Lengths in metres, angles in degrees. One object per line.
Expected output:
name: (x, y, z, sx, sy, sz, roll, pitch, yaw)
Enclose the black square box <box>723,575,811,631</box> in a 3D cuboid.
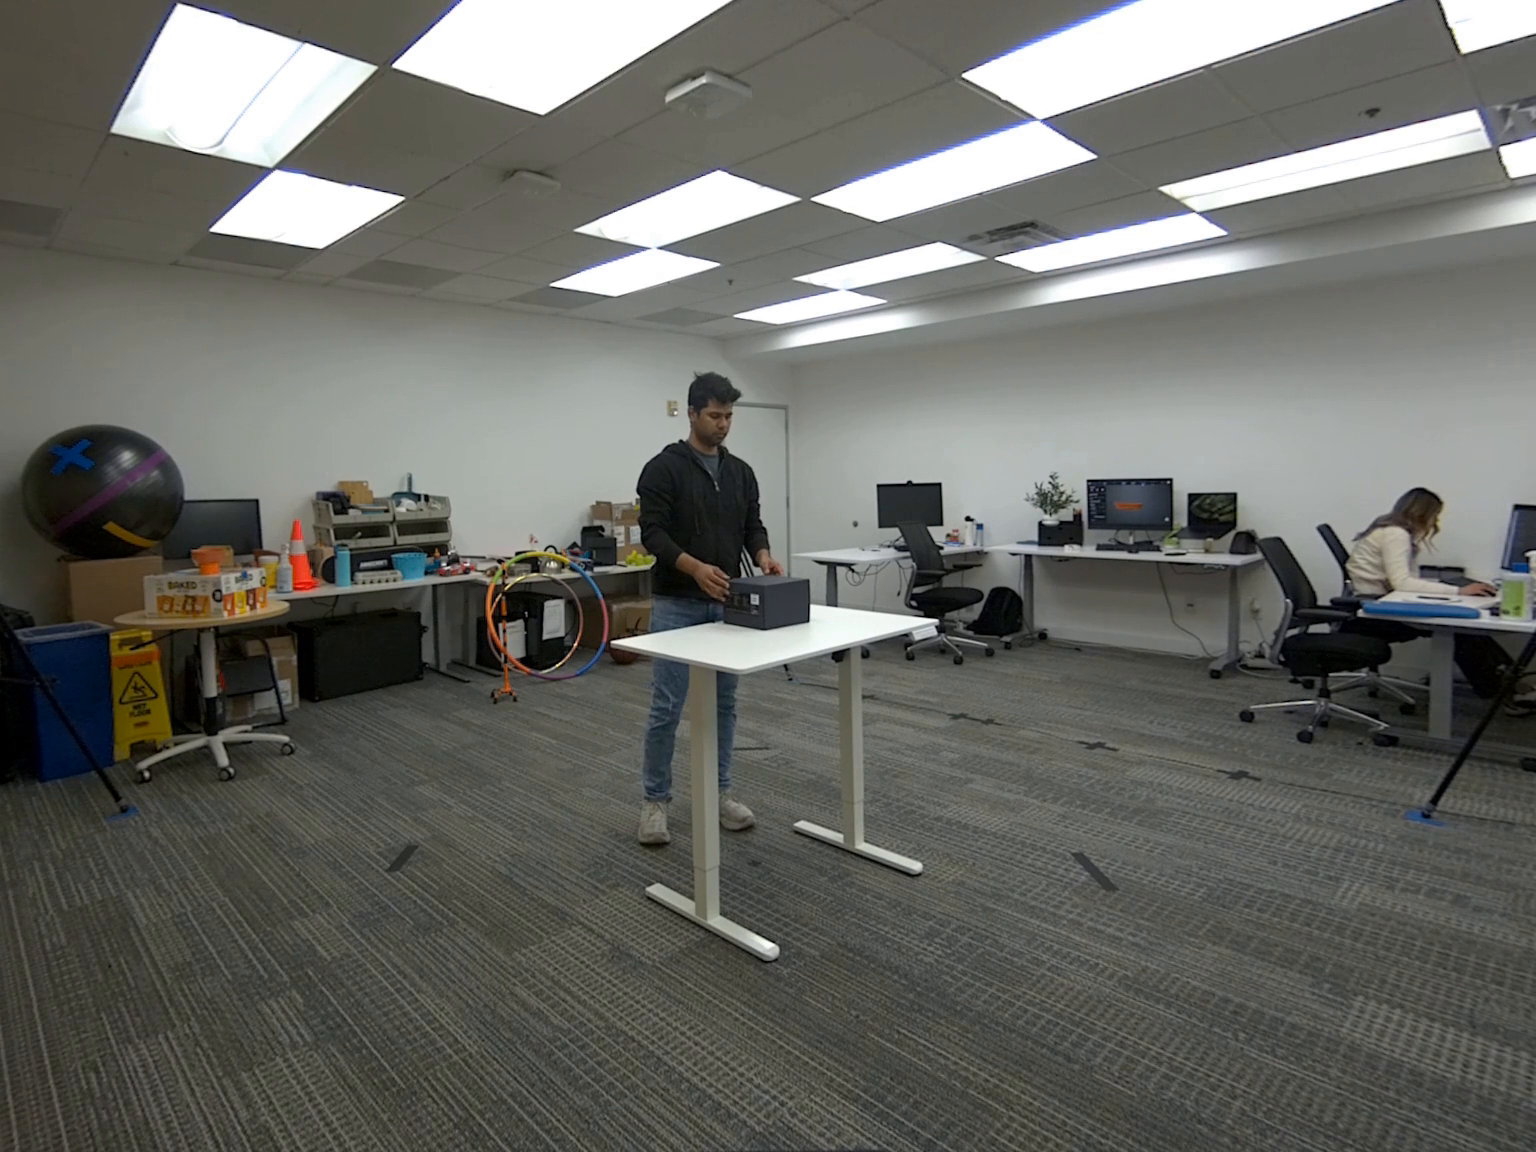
black square box: (0.002, 0.089, 3.034, 0.222, 0.155, 0.224, -6, 7, -42)
